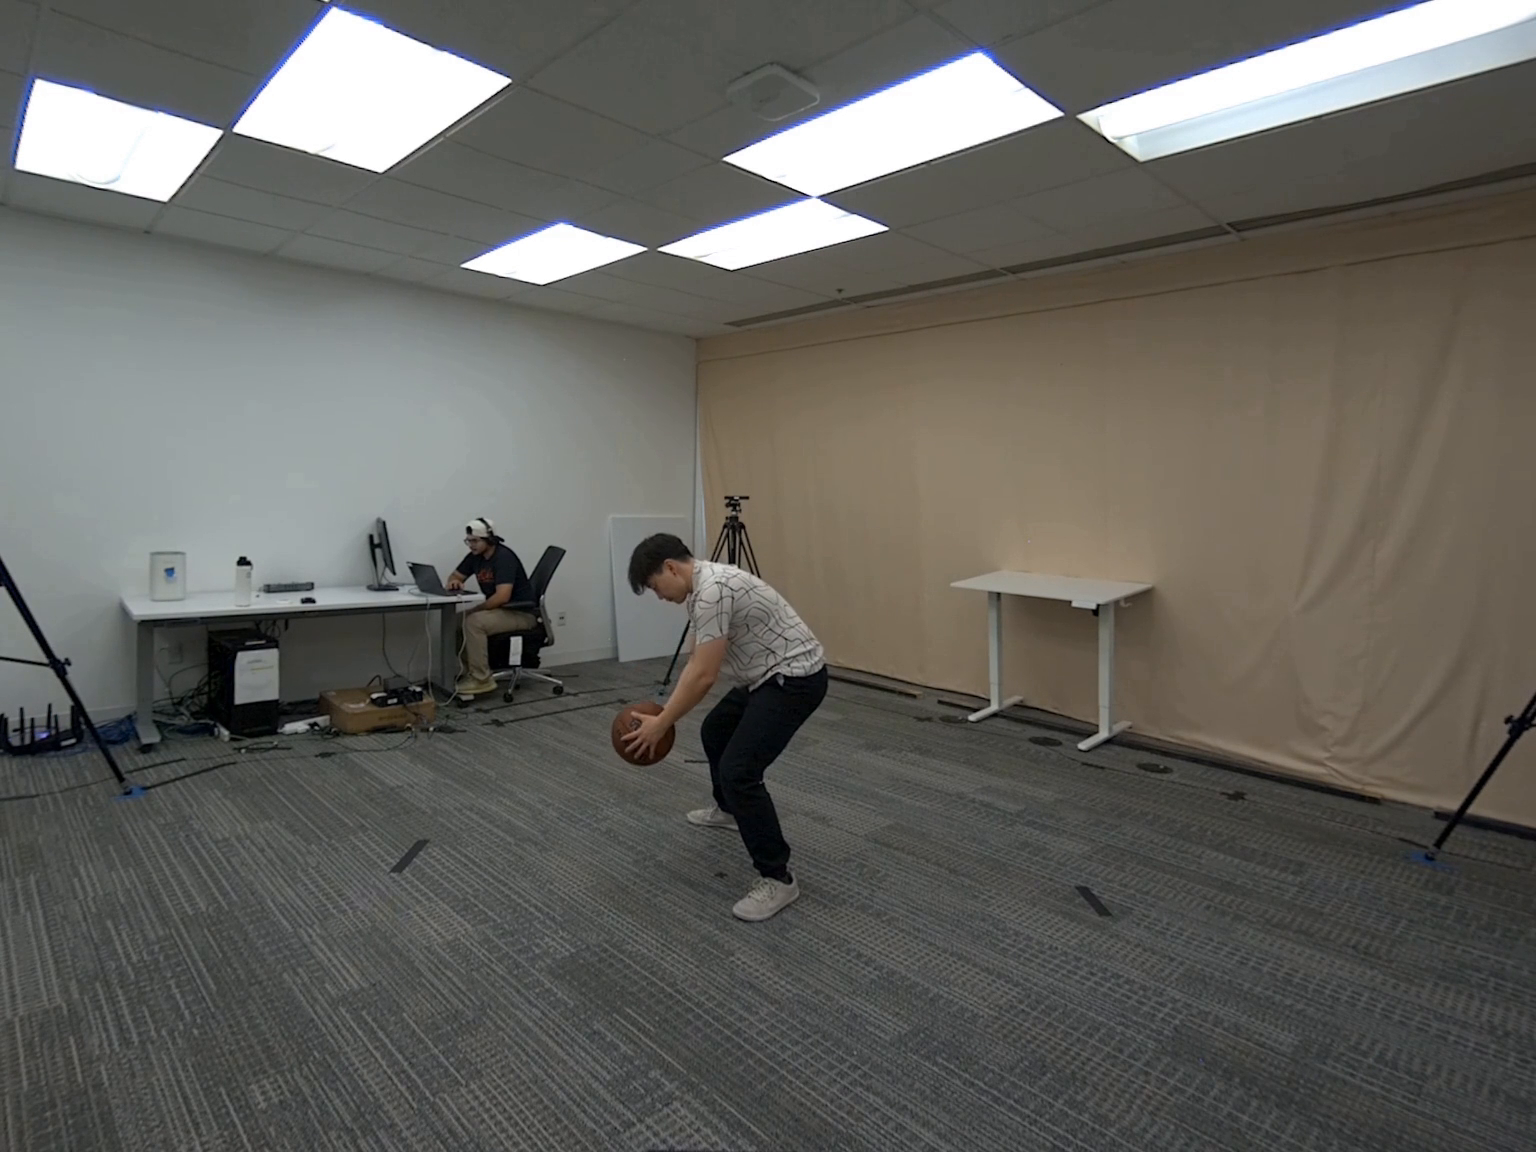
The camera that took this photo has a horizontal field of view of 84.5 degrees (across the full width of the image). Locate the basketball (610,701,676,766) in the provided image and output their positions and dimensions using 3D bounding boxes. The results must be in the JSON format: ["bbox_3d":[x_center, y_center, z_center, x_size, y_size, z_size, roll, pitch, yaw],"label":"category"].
[{"bbox_3d":[-0.469,0.575,3.137,0.236,0.235,0.237,1,4,-1],"label":"basketball"}]
